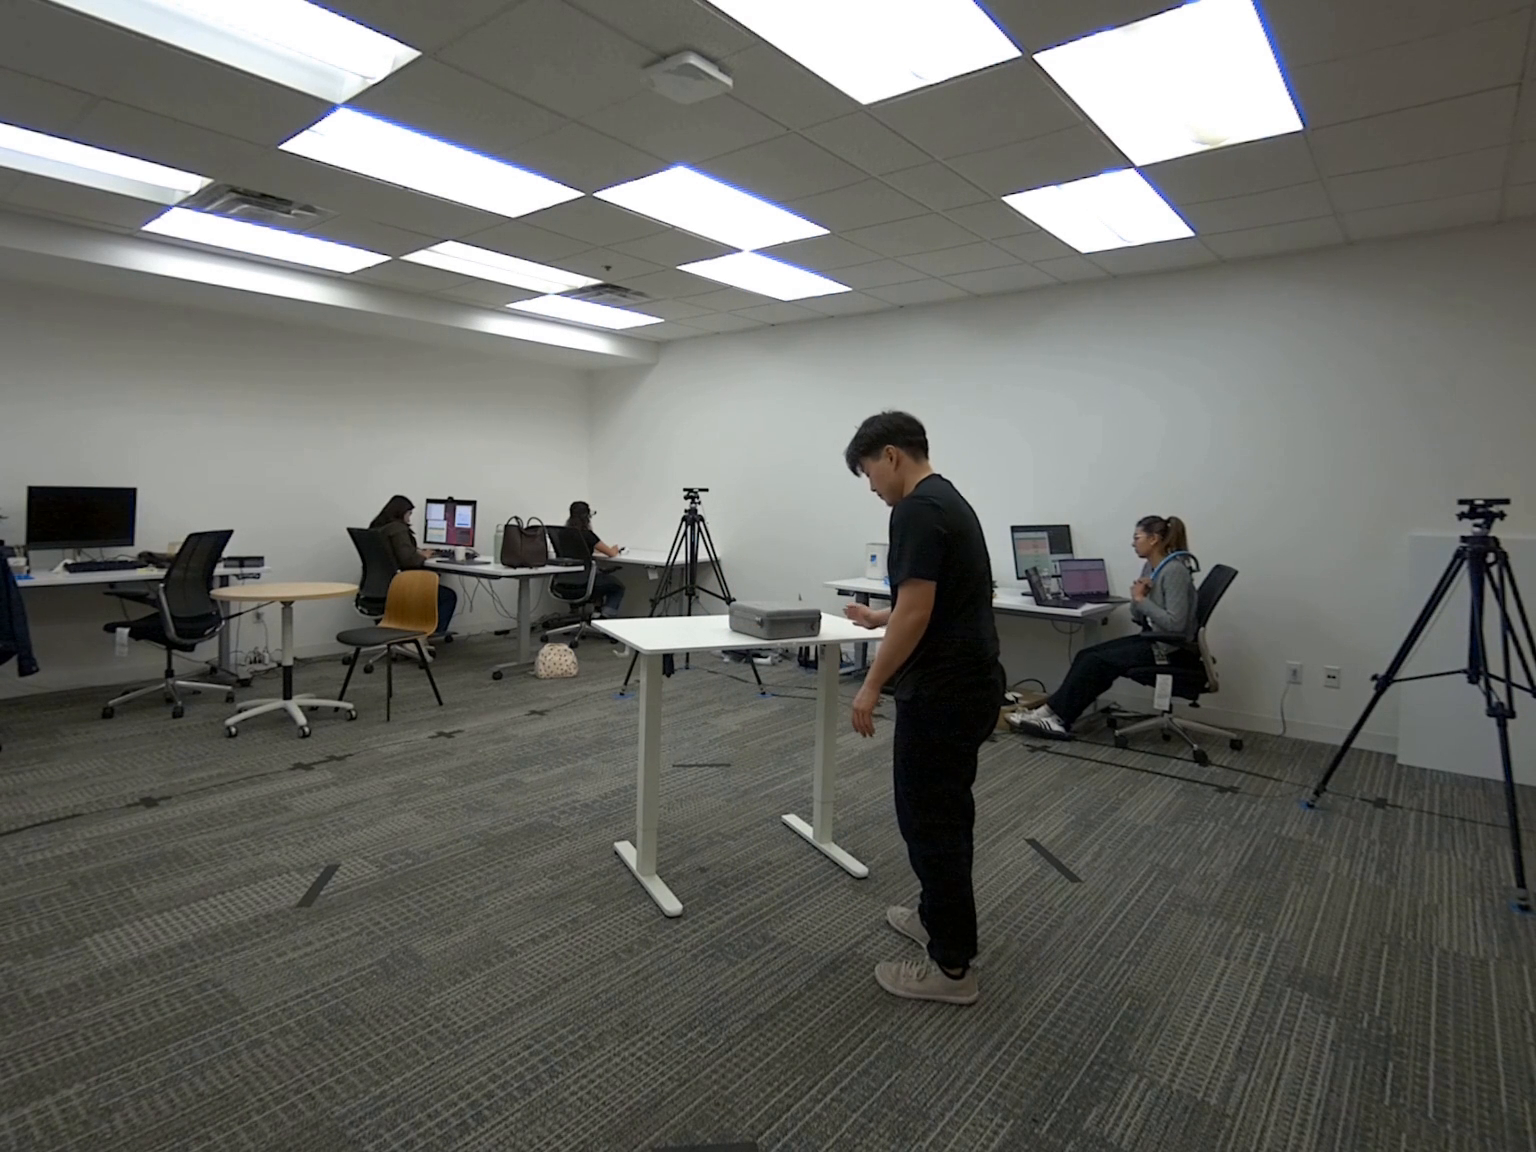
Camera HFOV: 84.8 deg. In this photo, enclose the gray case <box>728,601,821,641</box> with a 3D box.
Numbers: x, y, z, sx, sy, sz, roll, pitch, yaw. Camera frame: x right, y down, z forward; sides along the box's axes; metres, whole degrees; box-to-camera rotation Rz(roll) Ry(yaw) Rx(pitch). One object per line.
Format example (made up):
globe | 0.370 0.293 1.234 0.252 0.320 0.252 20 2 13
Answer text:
gray case | 0.018 0.148 3.031 0.253 0.104 0.265 -1 4 -36
